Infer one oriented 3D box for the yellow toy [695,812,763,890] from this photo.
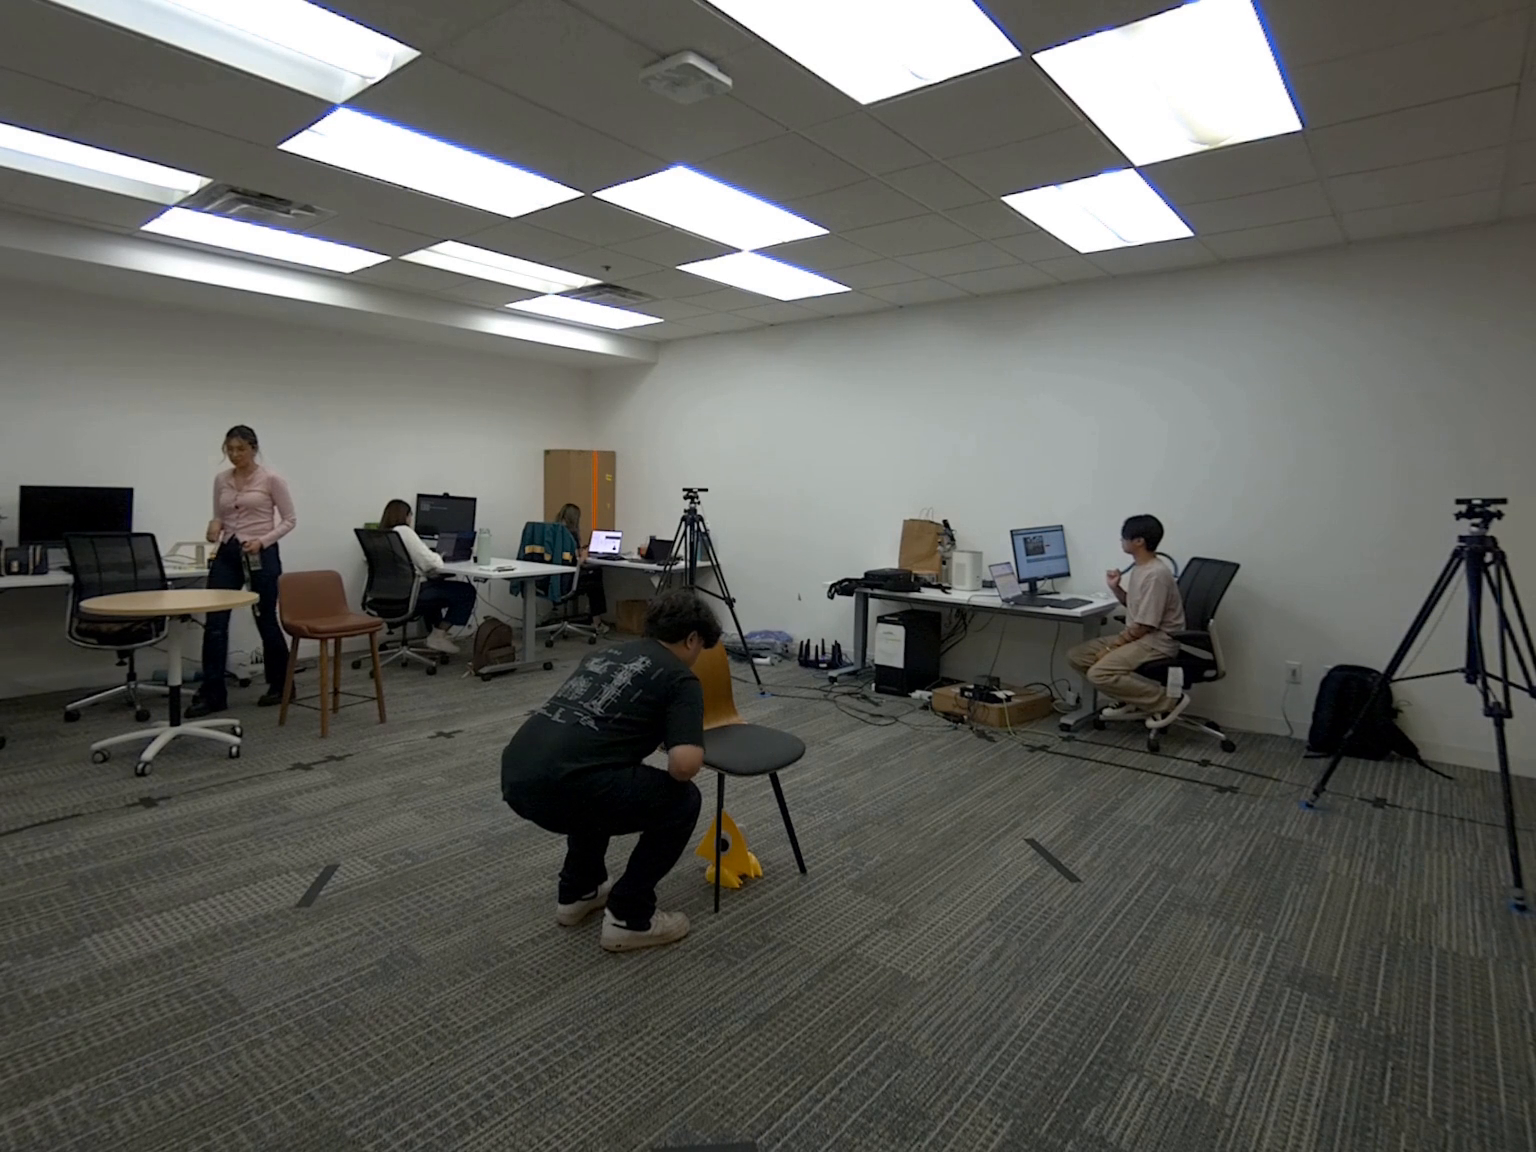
[{"bbox_3d":[-0.137,0.964,3.071,0.199,0.230,0.199,5,6,41],"label":"yellow toy"}]
